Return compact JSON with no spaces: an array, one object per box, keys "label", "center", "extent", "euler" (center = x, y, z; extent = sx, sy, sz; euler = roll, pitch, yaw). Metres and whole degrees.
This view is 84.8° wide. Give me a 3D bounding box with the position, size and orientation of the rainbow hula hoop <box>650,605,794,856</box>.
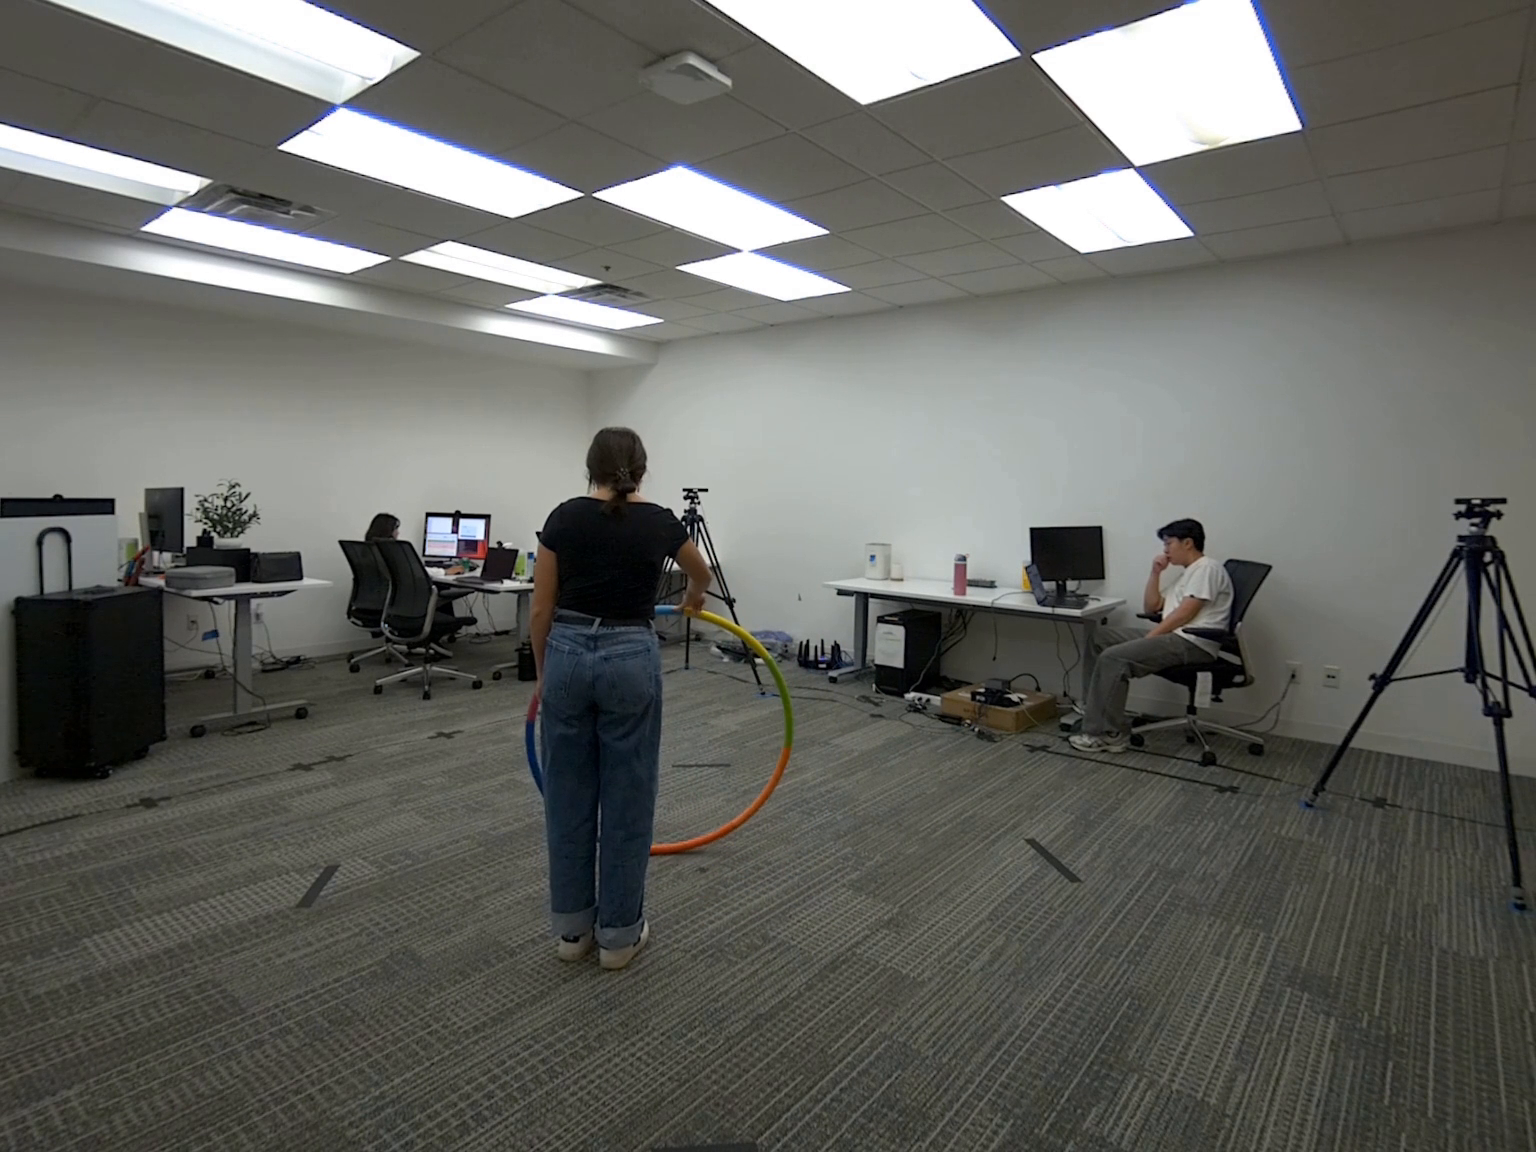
[{"label":"rainbow hula hoop","center":[-0.387,0.580,3.154],"extent":[0.969,0.968,0.036],"euler":[0,12,-8]}]
